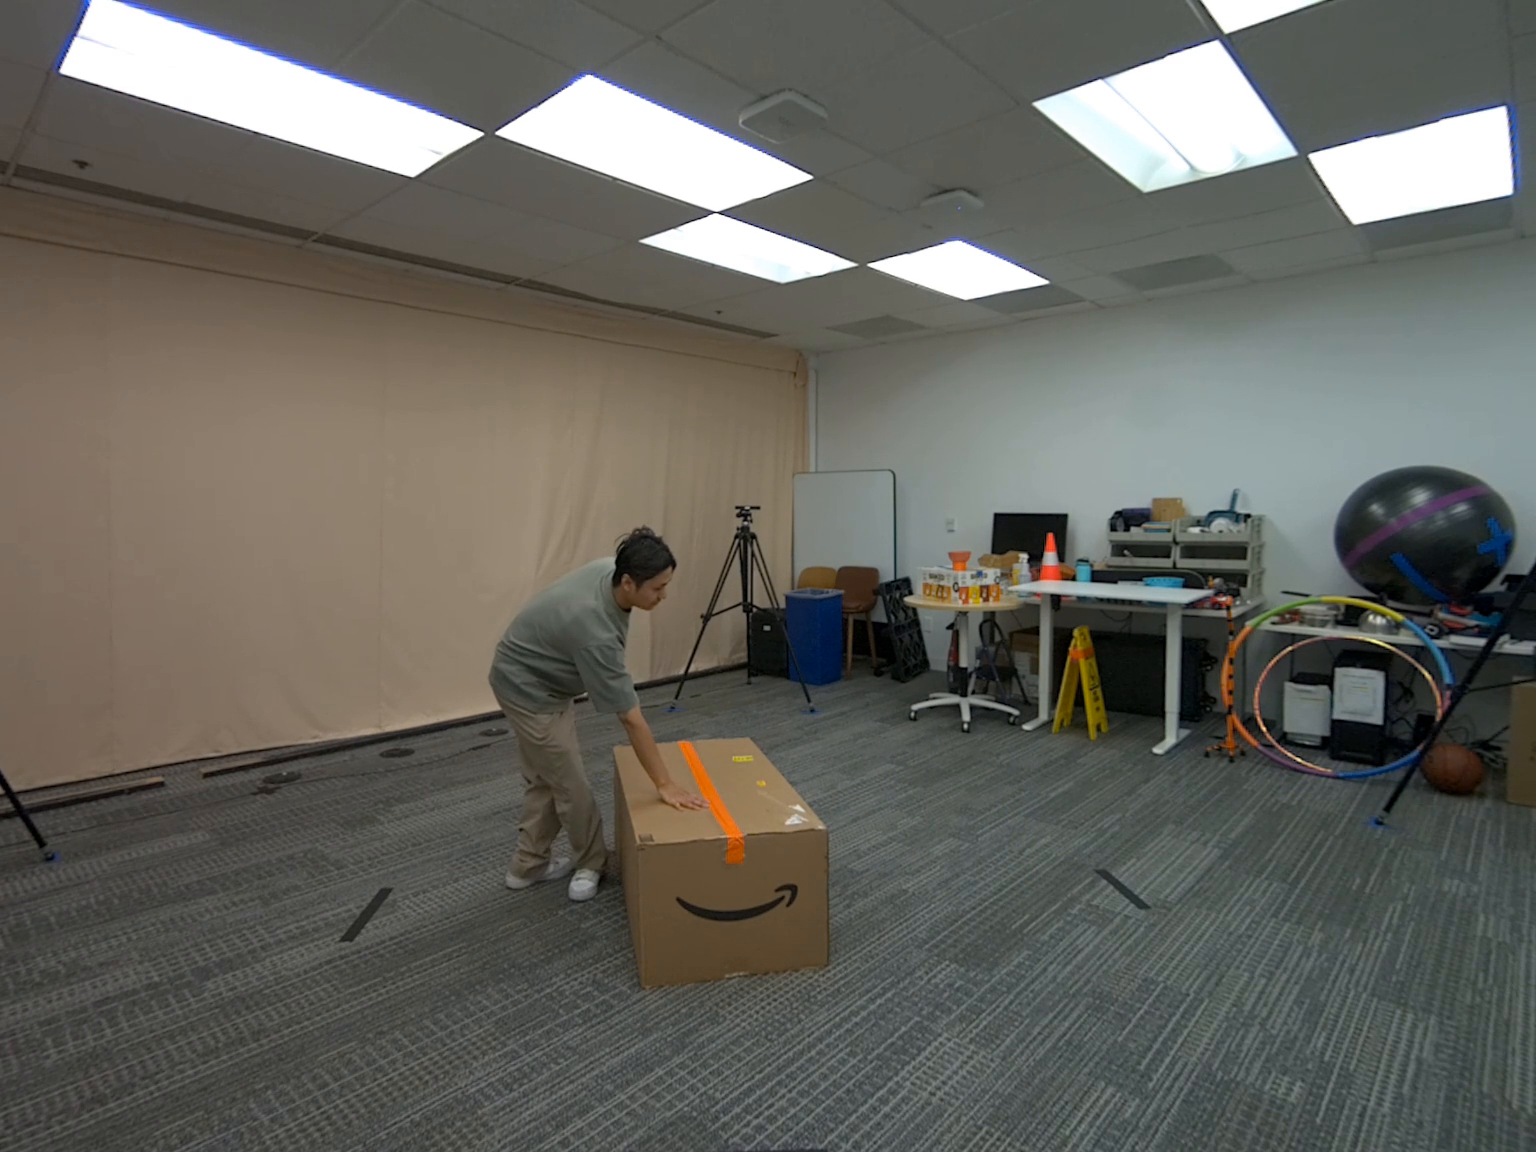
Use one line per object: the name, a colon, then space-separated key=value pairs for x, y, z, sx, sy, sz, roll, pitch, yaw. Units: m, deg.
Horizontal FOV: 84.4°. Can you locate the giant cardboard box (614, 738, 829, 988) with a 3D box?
giant cardboard box: x=-0.216 y=0.932 z=2.972 sx=0.570 sy=0.425 sz=1.042 roll=-1 pitch=4 yaw=-14
